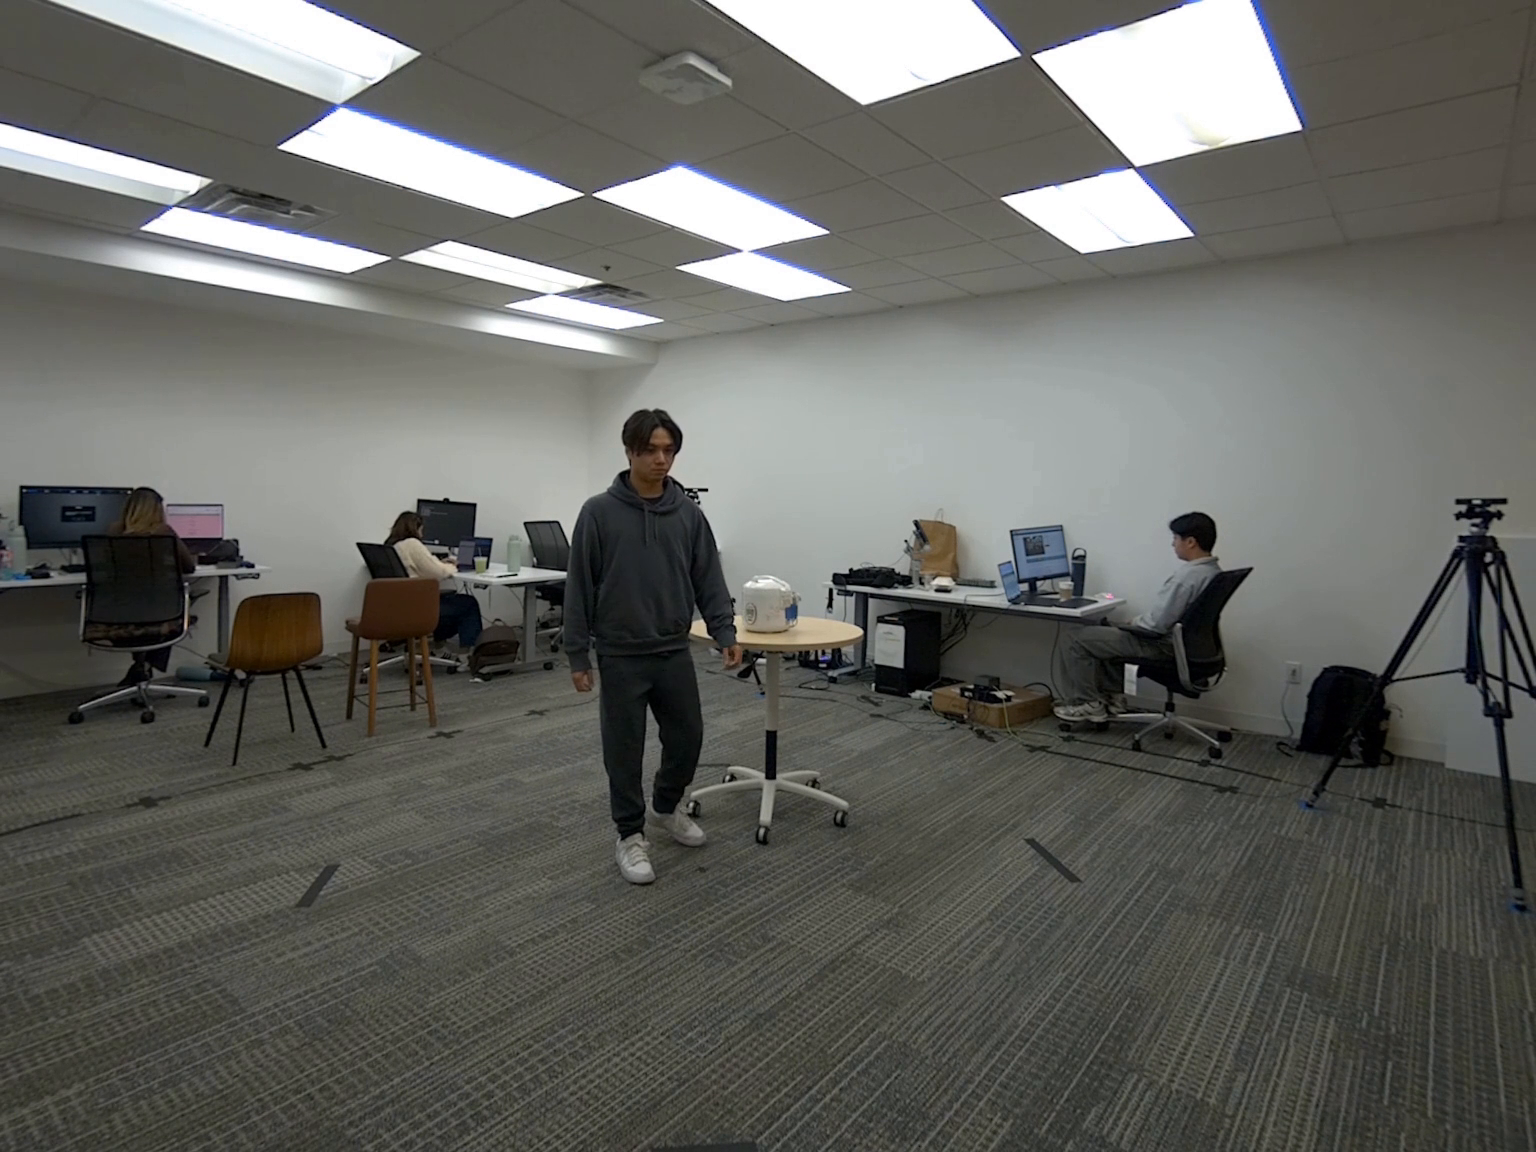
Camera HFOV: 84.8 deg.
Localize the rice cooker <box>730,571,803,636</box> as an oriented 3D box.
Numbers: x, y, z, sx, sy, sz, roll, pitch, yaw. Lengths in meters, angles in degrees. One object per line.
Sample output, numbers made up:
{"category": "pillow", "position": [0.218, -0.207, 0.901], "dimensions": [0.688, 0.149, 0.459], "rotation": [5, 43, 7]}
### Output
{"category": "rice cooker", "position": [-0.012, 0.110, 3.605], "dimensions": [0.228, 0.232, 0.211], "rotation": [5, 5, 39]}
